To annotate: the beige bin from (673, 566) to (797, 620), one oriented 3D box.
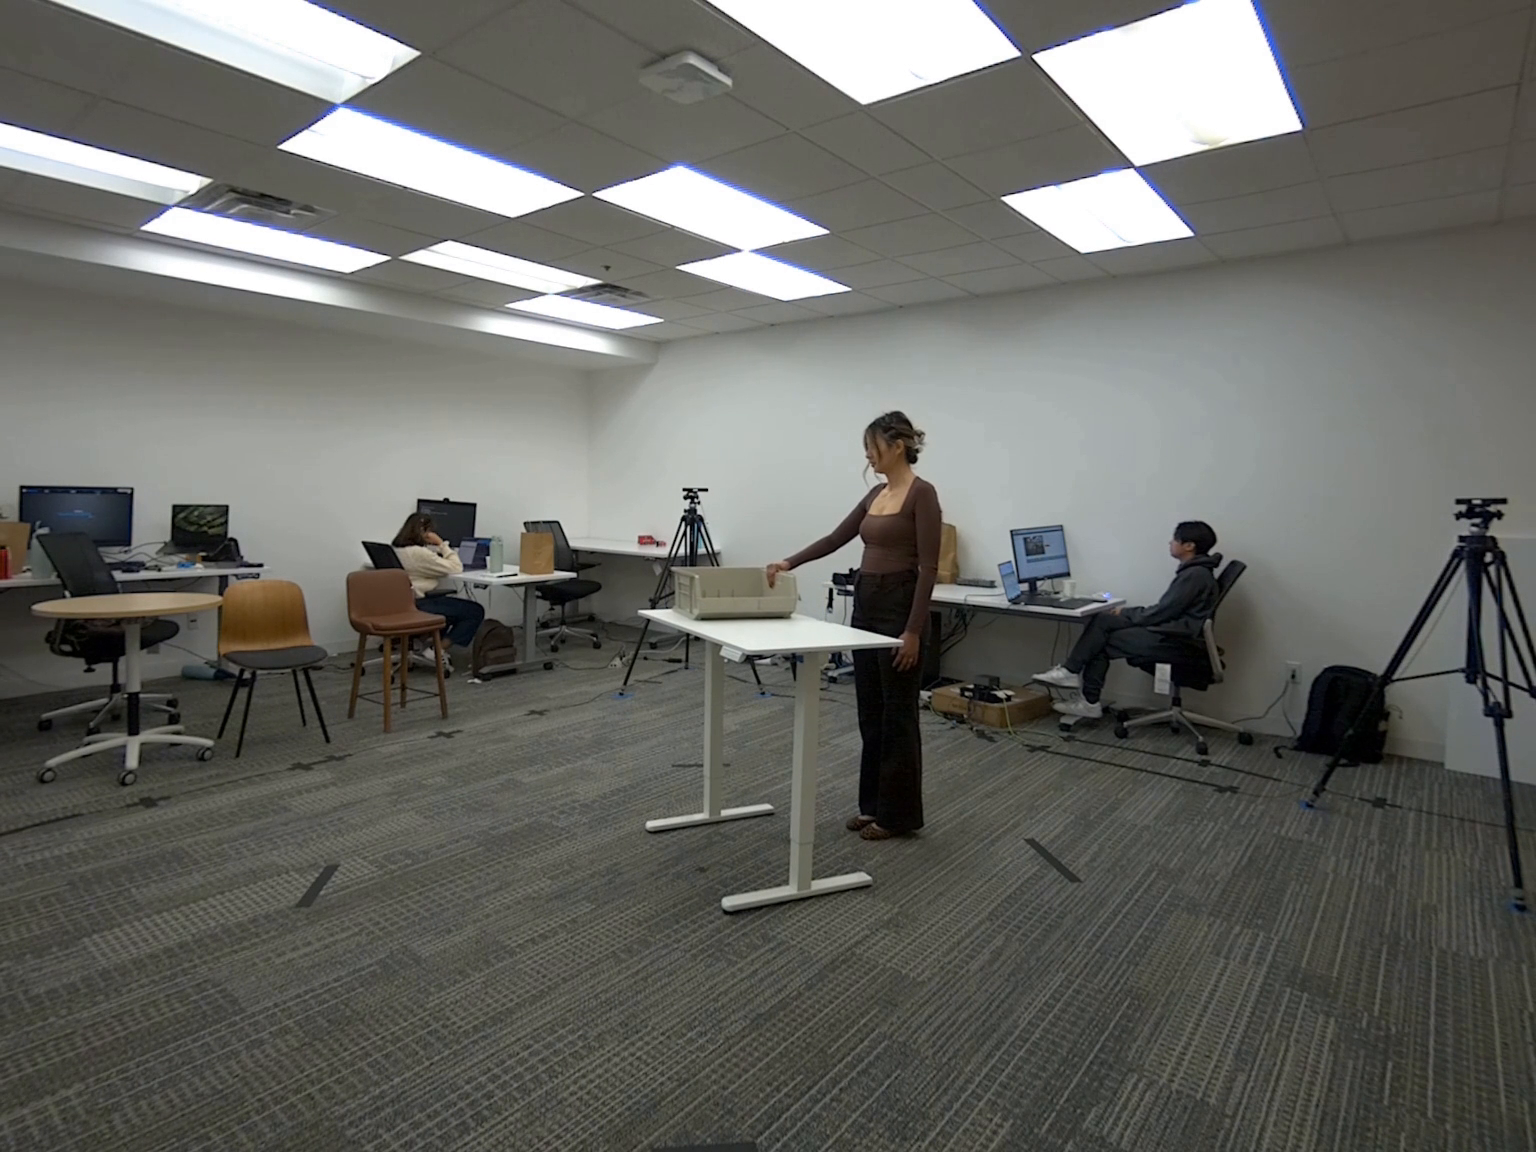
[{"bbox_3d":[-0.153,0.071,3.460,0.414,0.188,0.386,-1,4,-19],"label":"beige bin"}]
